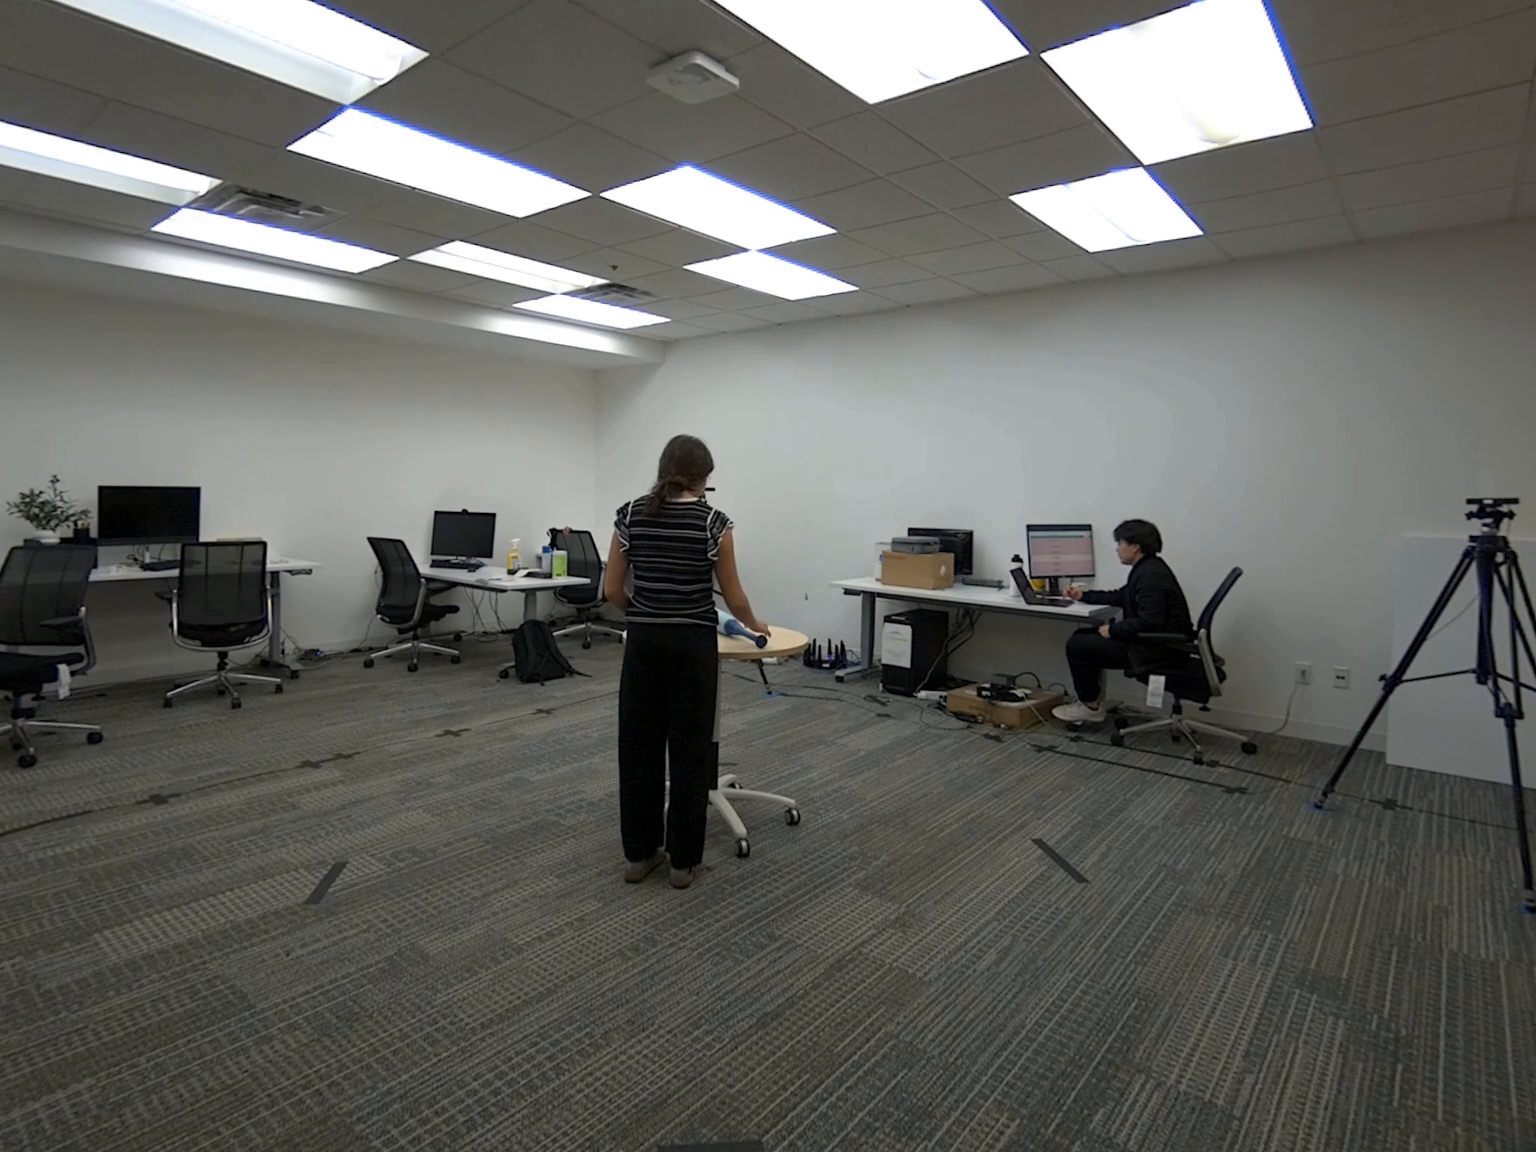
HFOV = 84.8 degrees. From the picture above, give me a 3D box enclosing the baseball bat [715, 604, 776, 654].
[{"bbox_3d":[-0.146,0.211,3.488,0.087,0.088,0.560,-1,9,-28],"label":"baseball bat"}]
